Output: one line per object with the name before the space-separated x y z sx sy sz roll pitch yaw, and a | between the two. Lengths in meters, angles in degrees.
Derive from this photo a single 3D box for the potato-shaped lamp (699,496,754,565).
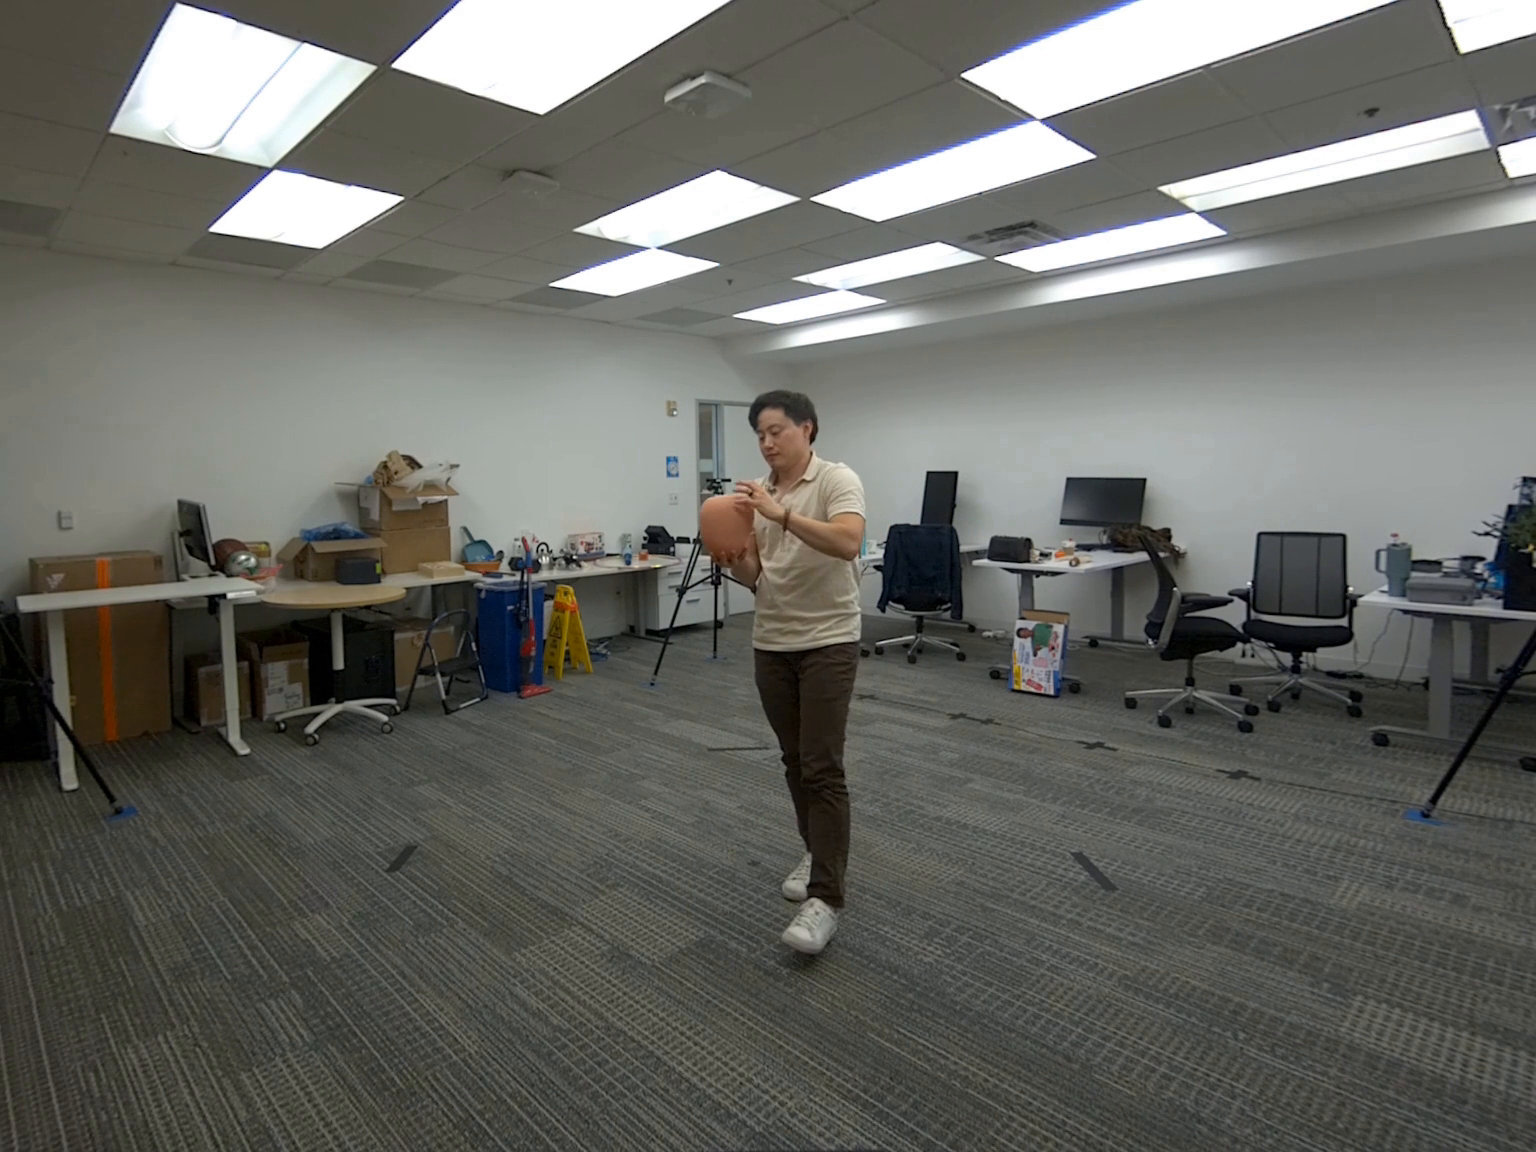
potato-shaped lamp | -0.110 -0.150 2.605 0.167 0.197 0.169 -6 6 -38
